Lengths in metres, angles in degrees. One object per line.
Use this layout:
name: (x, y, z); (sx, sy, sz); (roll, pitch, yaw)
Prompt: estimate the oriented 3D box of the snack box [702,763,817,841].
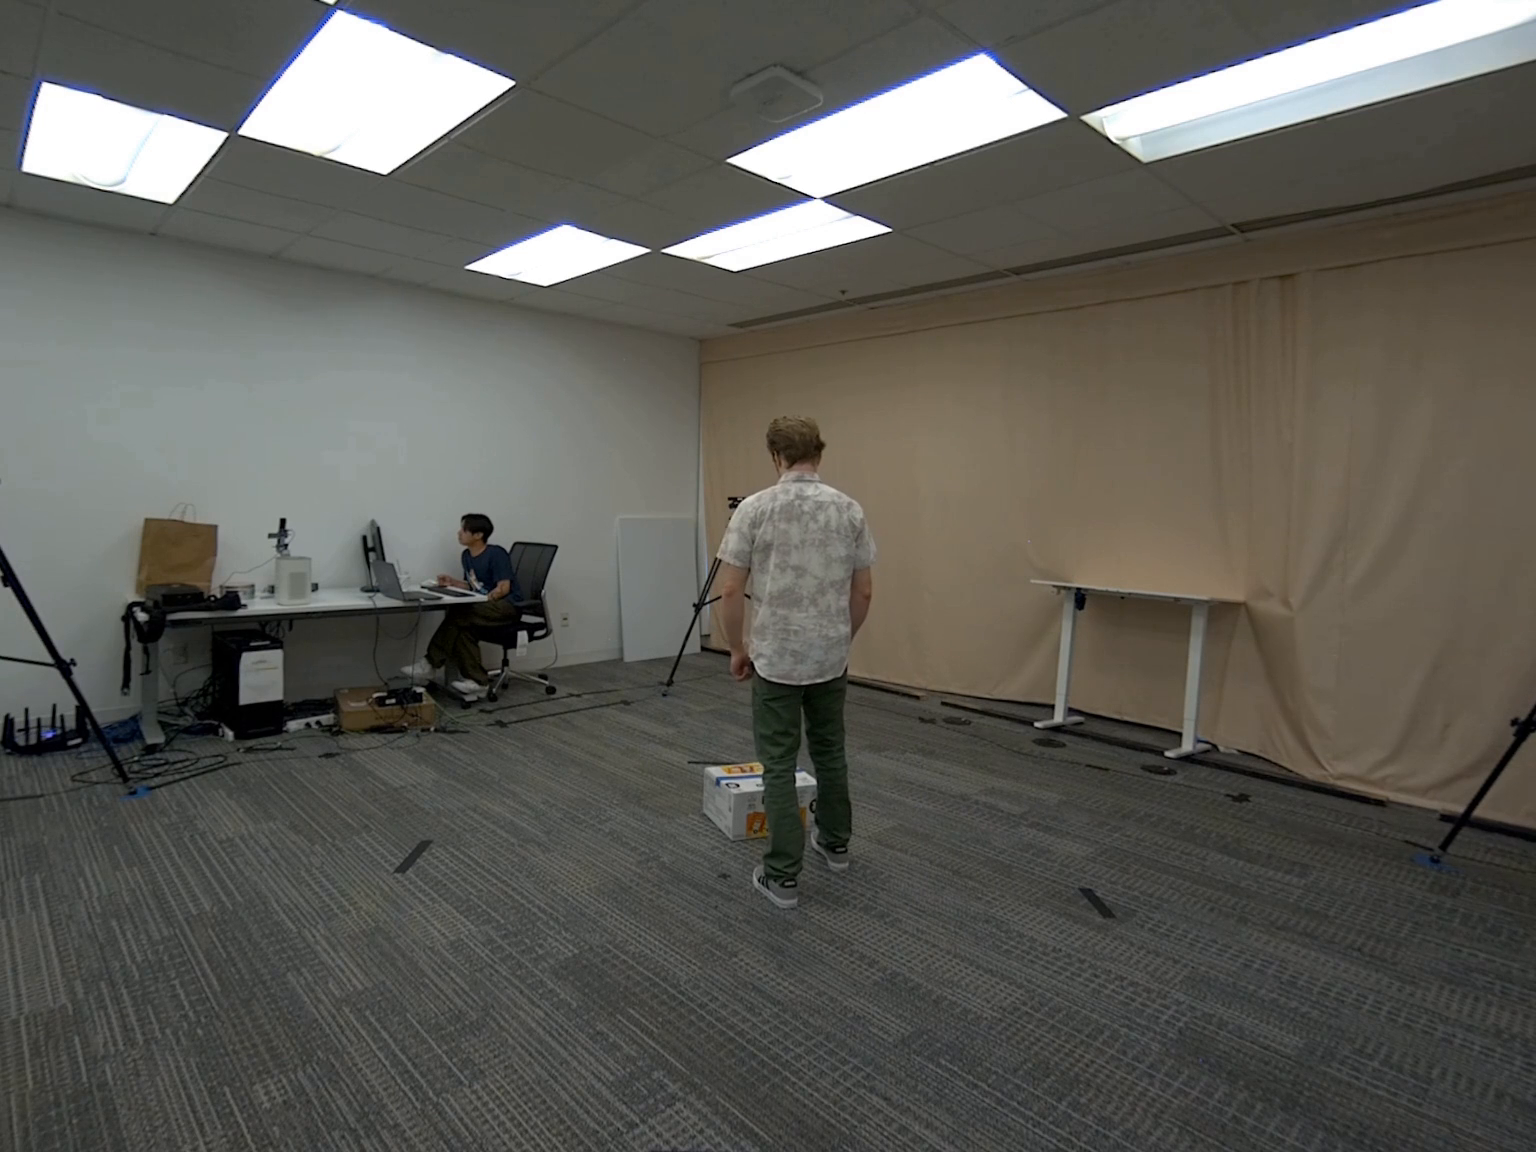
snack box: (-0.041, 0.960, 3.640); (0.398, 0.205, 0.347); (0, 5, -24)
